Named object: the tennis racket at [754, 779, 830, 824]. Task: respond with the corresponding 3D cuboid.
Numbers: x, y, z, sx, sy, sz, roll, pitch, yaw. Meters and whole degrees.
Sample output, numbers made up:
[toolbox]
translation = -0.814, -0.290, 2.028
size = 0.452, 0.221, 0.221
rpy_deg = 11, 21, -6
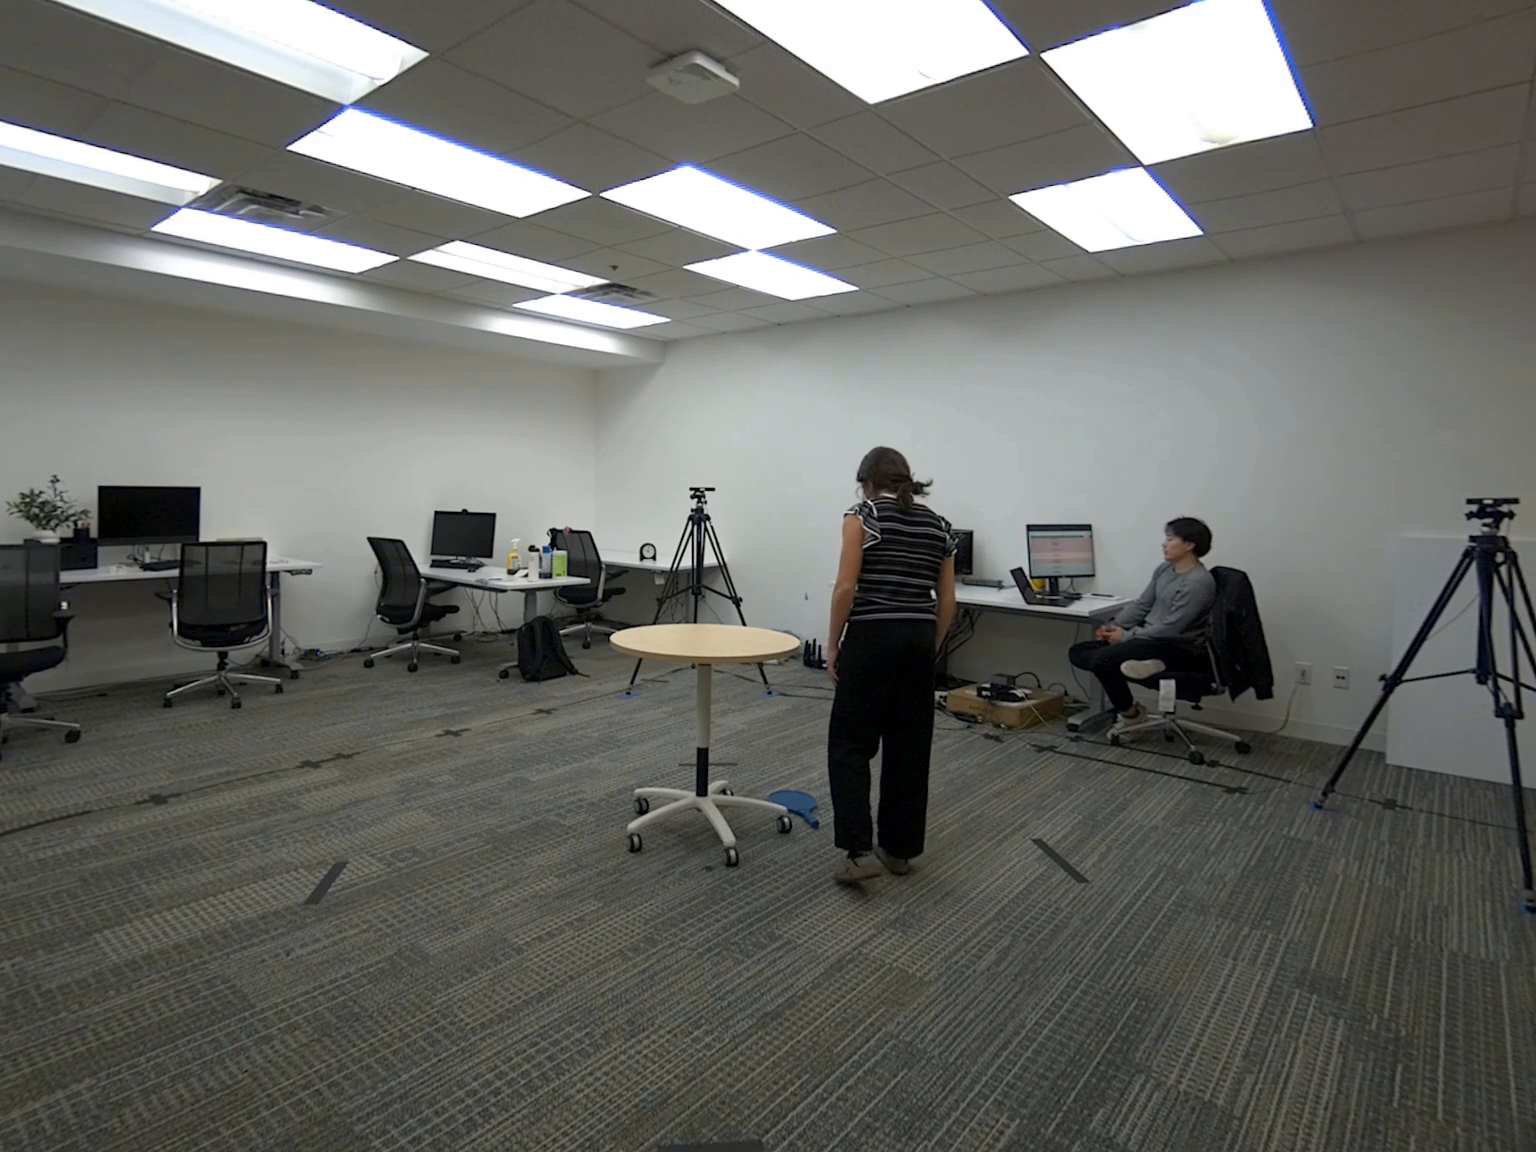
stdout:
[tennis racket]
translation = 0.097, 0.981, 3.690
size = 0.211, 0.031, 0.440
rpy_deg = 0, 5, -14
